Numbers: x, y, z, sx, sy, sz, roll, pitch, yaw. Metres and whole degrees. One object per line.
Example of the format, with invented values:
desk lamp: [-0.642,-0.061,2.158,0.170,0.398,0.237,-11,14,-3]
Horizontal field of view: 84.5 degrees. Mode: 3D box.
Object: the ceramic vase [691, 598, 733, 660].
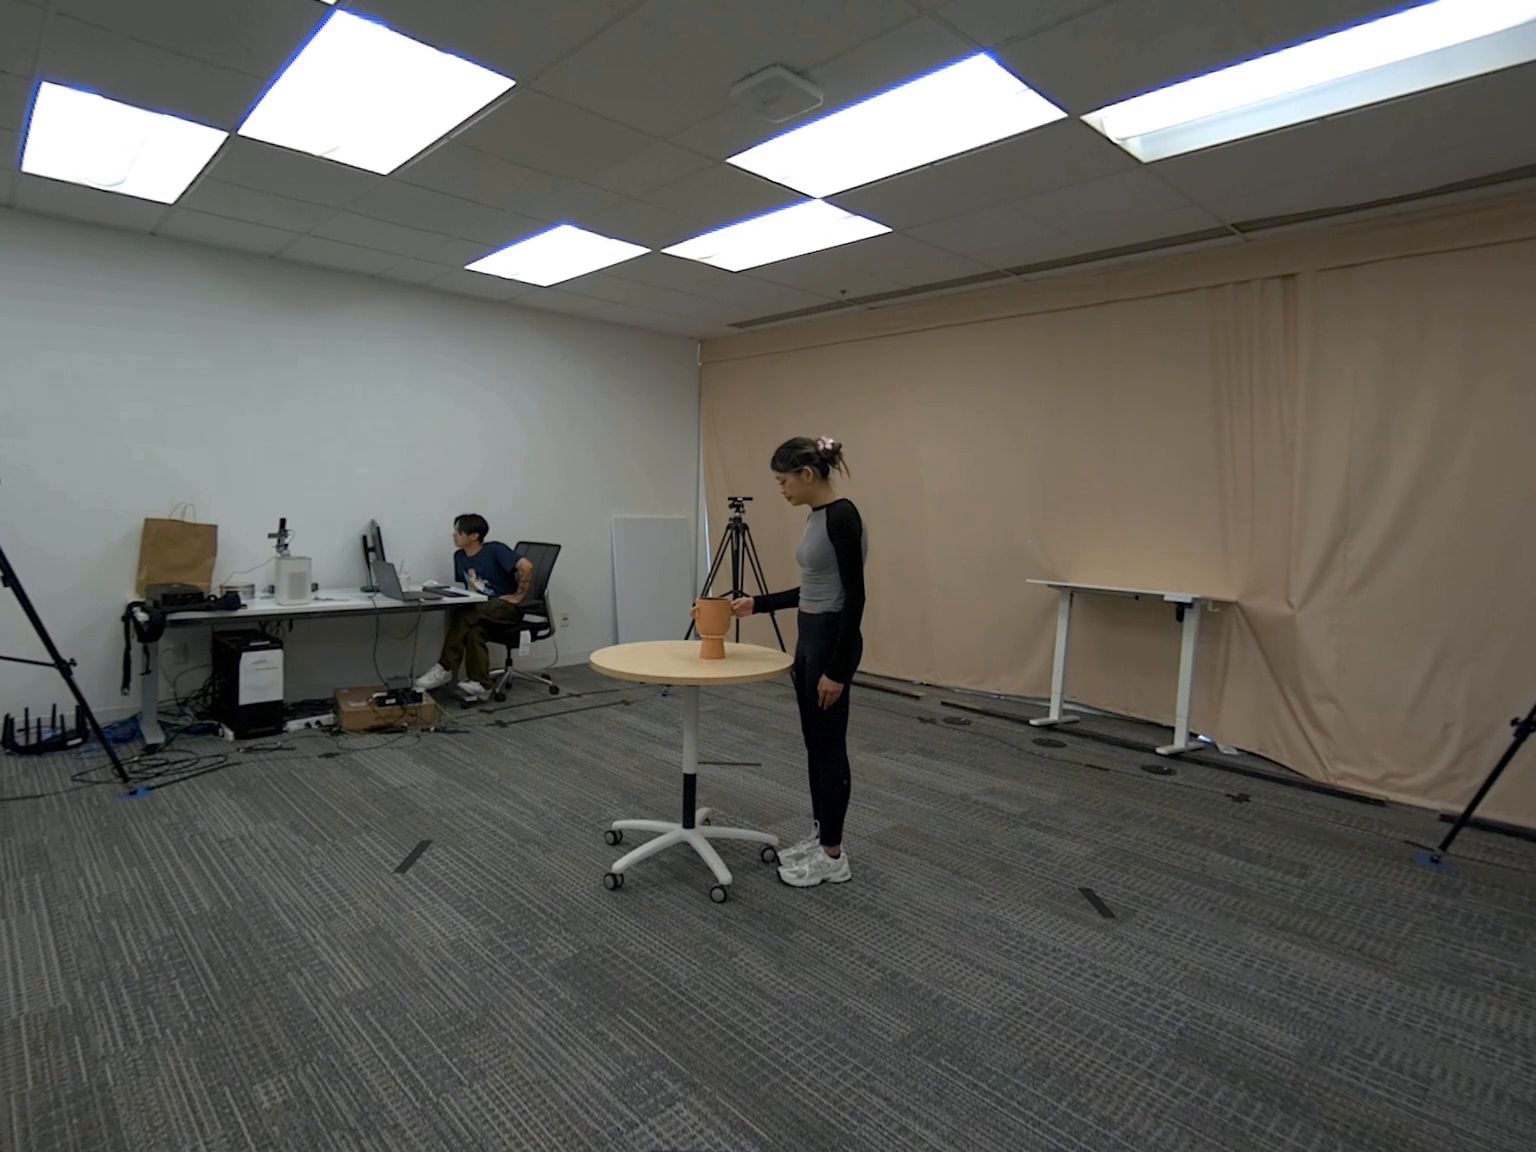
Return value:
ceramic vase: [-0.210,0.195,3.170,0.160,0.219,0.134,1,3,7]
